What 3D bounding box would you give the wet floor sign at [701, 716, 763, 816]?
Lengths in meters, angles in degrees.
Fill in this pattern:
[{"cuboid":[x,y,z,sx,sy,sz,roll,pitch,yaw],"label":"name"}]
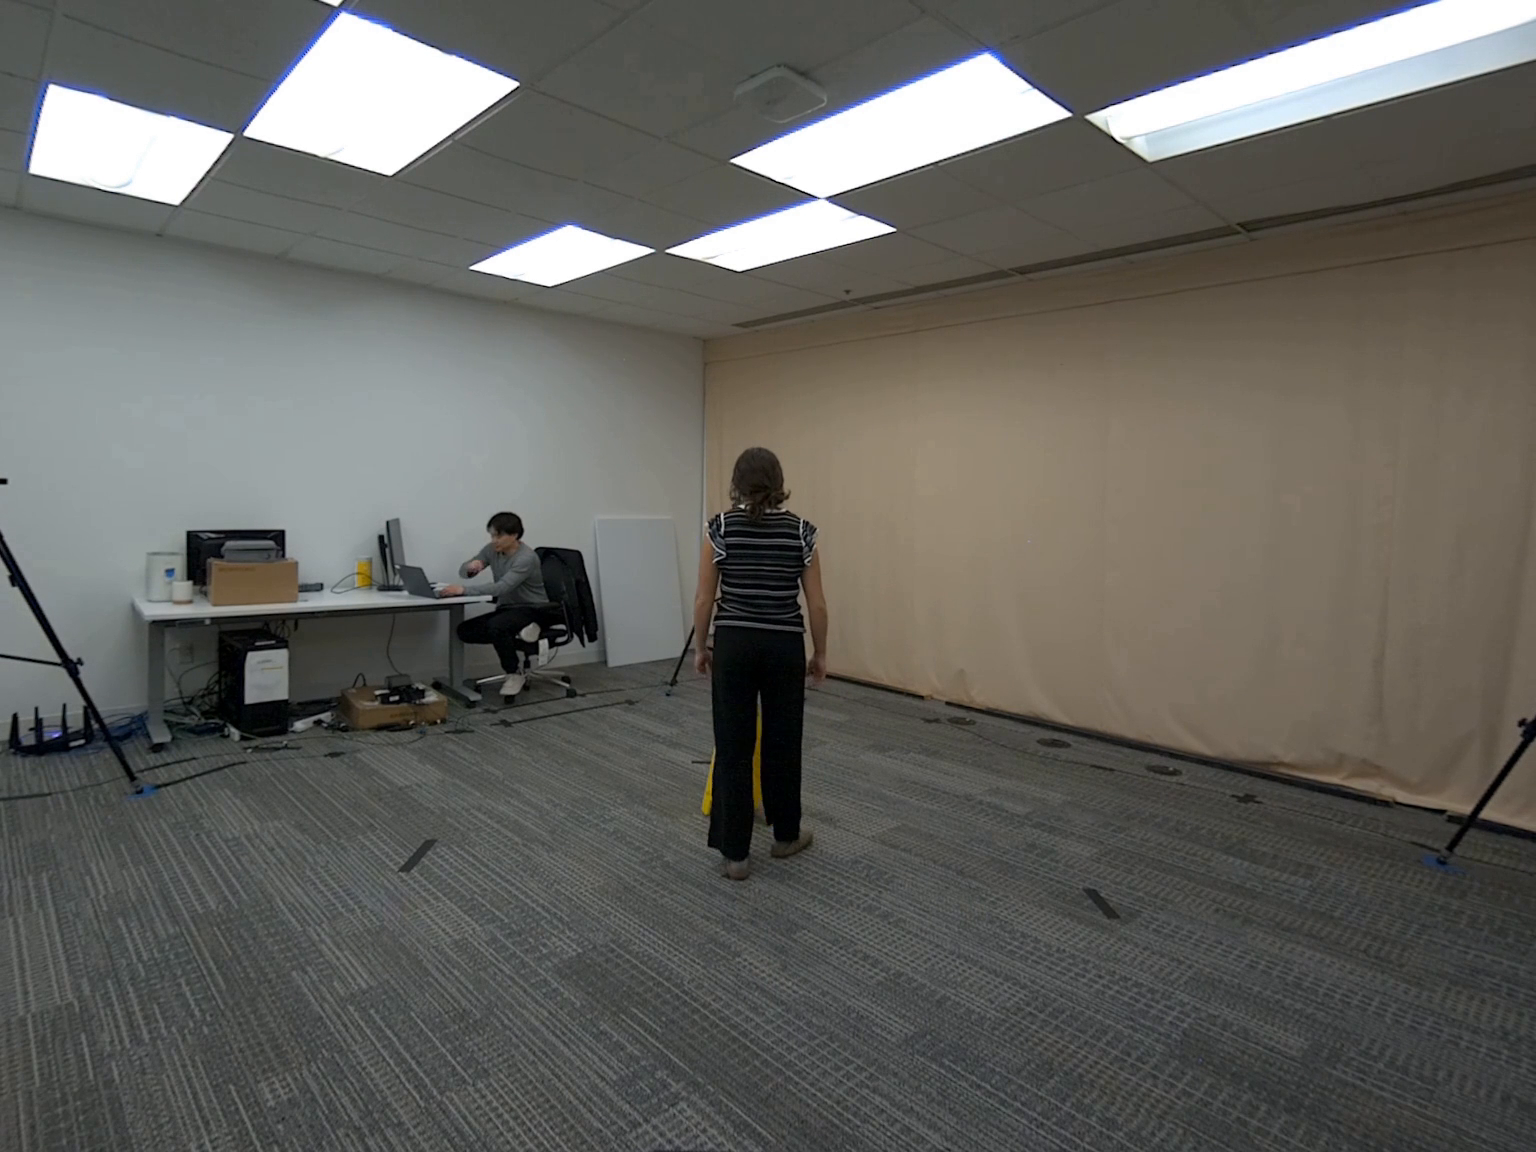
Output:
[{"cuboid":[-0.129,0.737,3.666,0.285,0.645,0.287,1,2,-20],"label":"wet floor sign"}]
